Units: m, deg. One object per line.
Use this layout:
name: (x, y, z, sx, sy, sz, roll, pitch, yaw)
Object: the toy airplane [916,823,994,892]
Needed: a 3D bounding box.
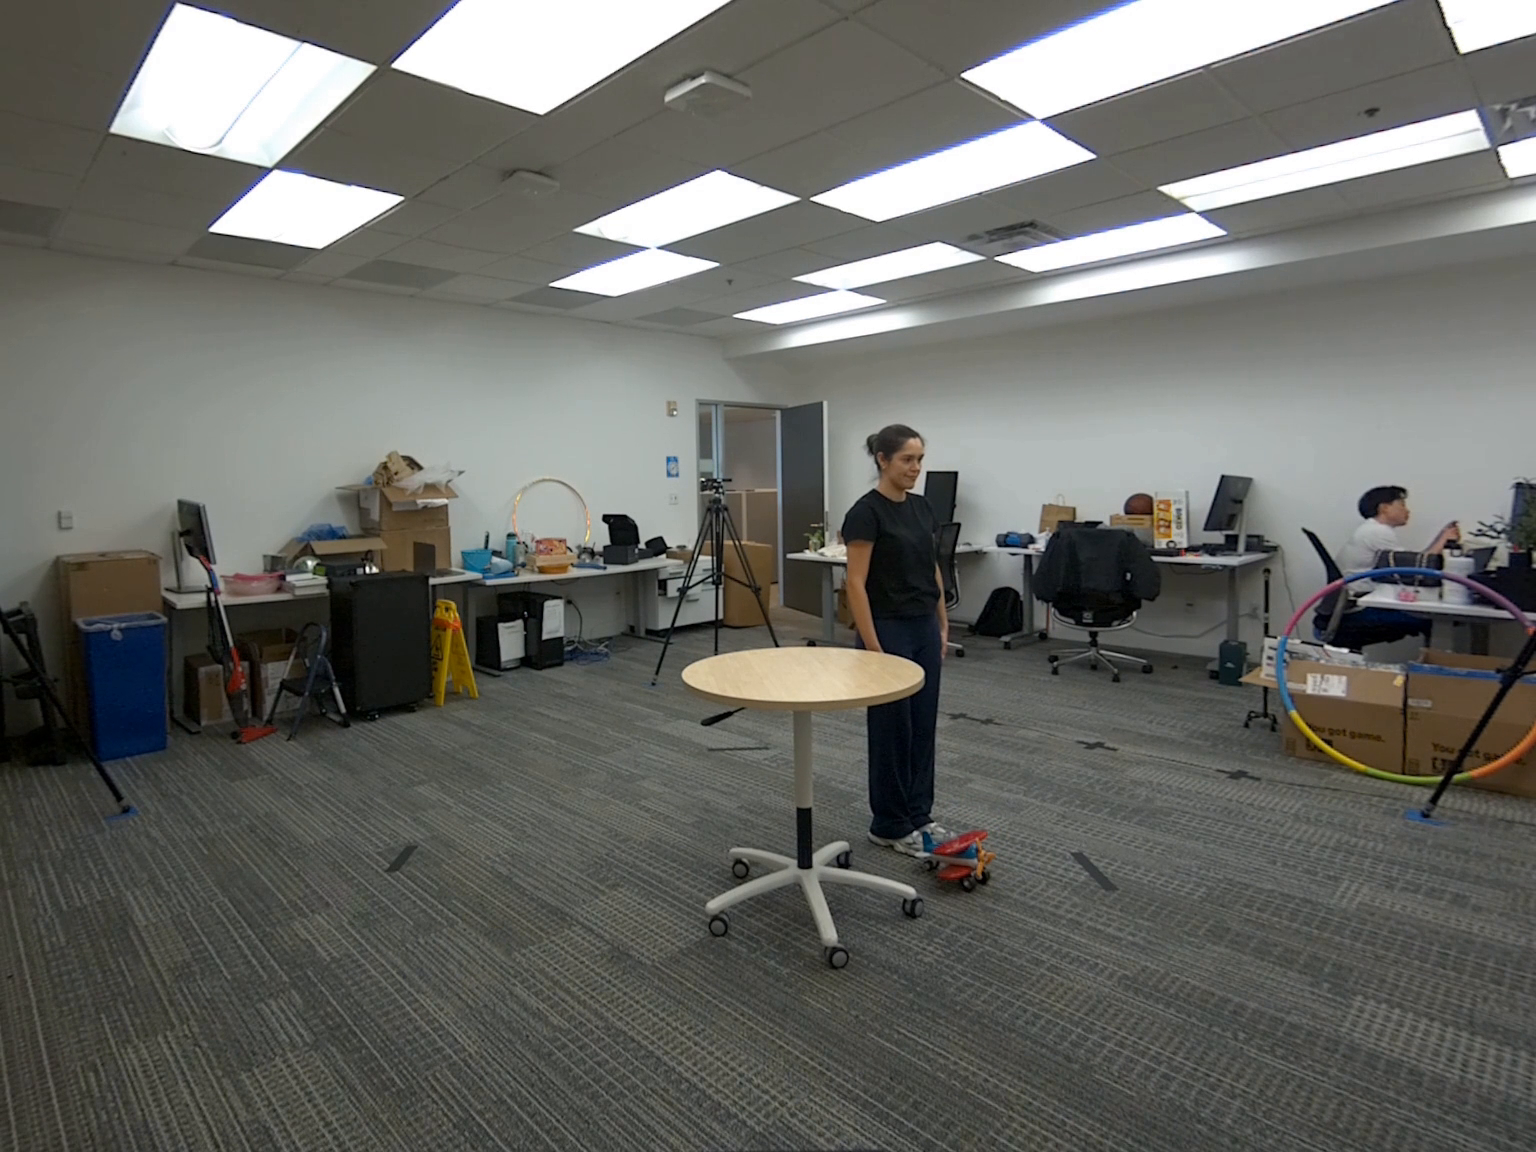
toy airplane: (0.634, 0.979, 2.970, 0.264, 0.156, 0.247, 3, 6, 20)
